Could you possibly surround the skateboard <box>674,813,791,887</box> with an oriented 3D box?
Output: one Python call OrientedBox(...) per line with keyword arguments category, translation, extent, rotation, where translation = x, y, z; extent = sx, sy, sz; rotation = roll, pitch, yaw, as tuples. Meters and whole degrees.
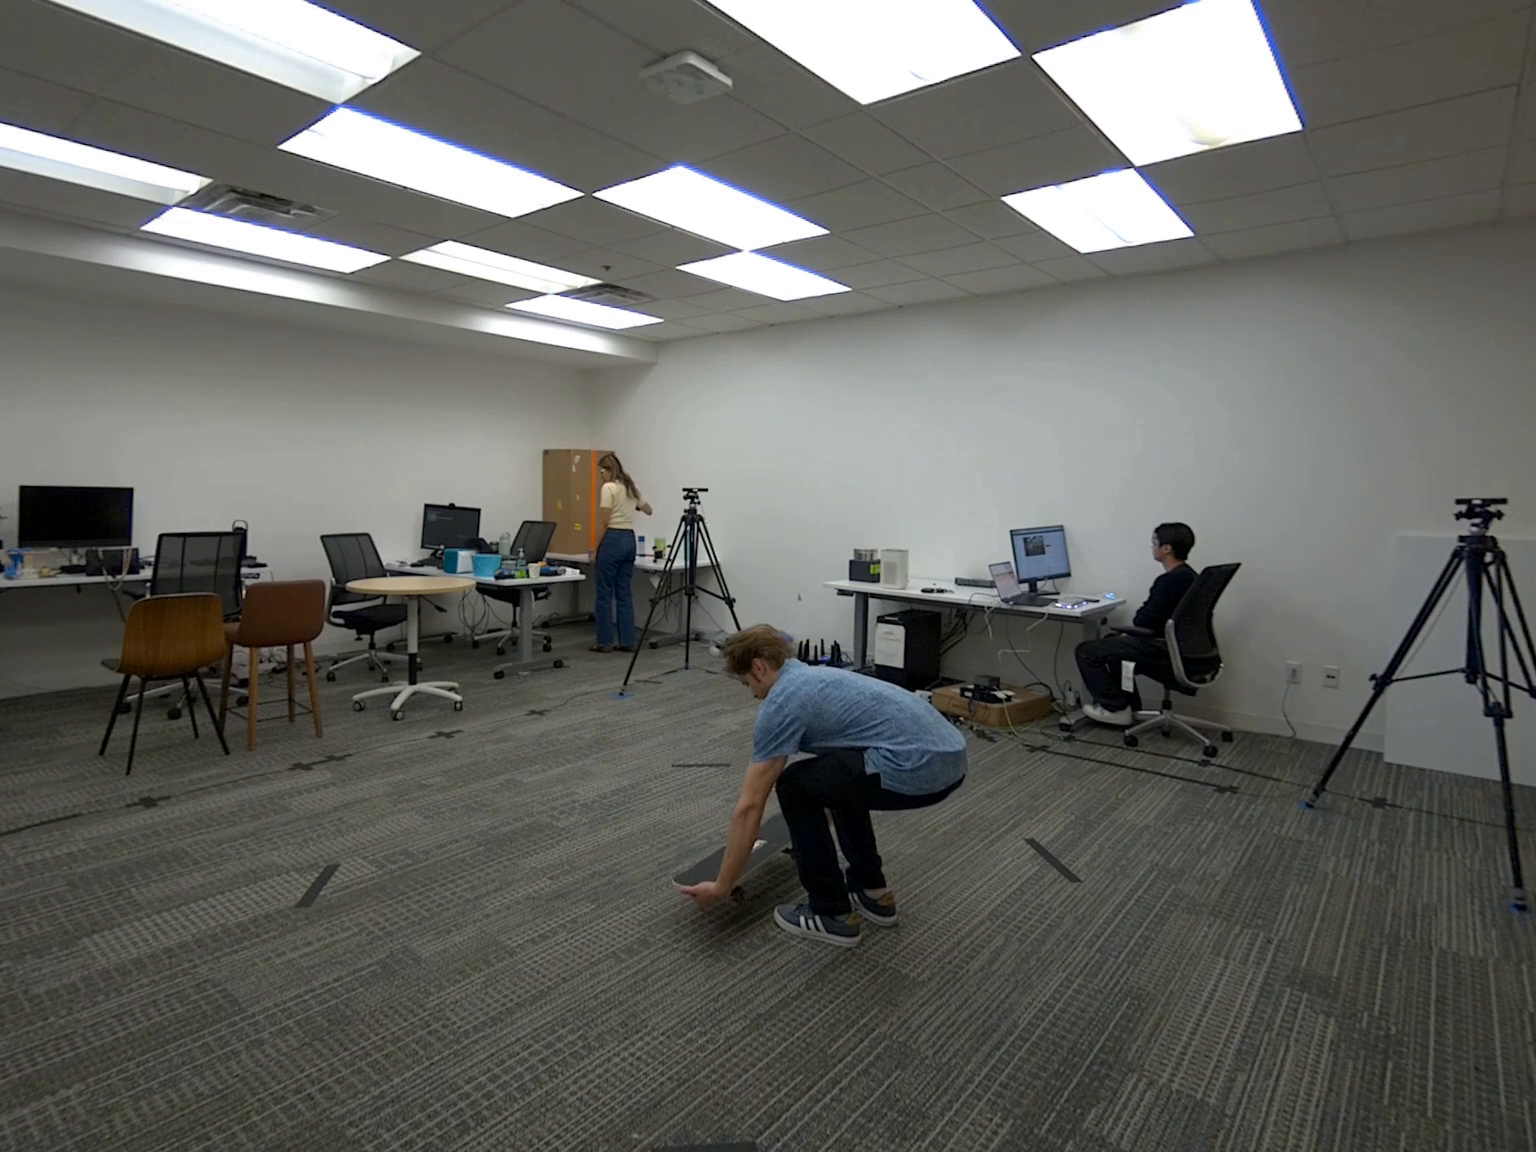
OrientedBox(category="skateboard", translation=(-0.072, 0.984, 2.970), extent=(0.199, 0.110, 0.765), rotation=(-1, 4, 32))
